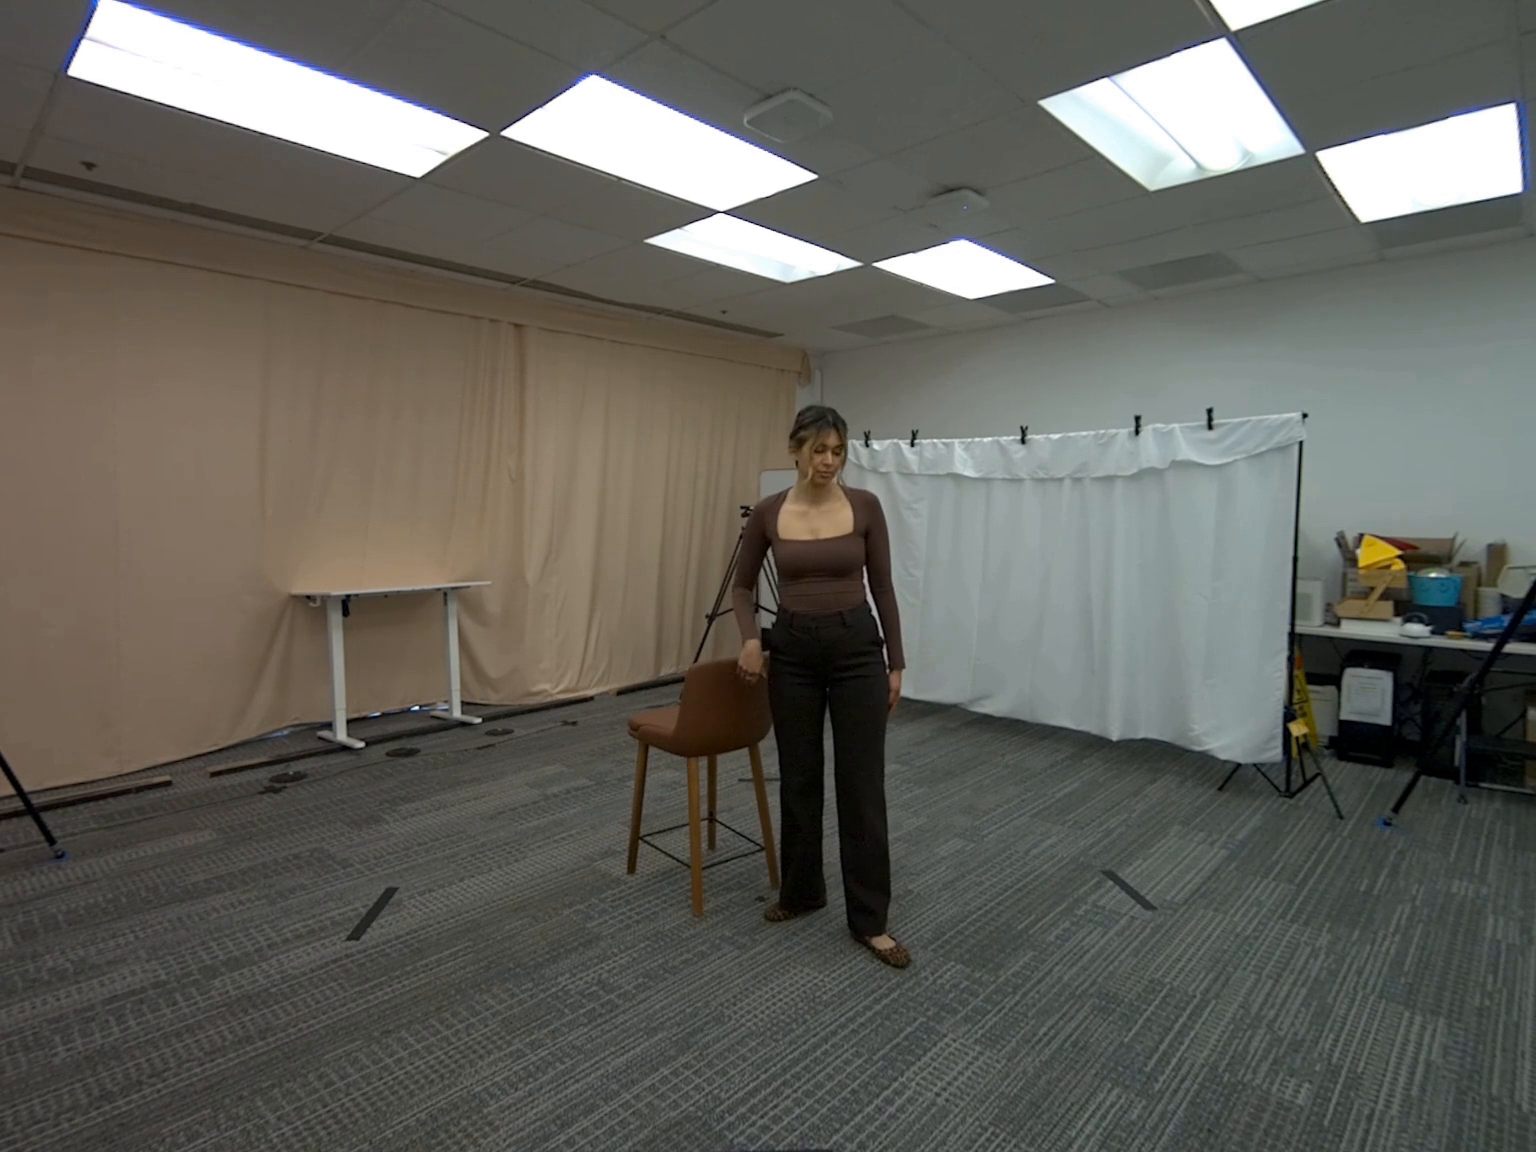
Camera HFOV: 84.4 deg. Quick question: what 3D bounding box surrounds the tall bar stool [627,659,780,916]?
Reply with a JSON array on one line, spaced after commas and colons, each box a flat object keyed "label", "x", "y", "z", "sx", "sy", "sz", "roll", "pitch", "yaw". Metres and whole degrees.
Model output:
[{"label": "tall bar stool", "x": -0.237, "y": 0.698, "z": 3.114, "sx": 0.443, "sy": 0.887, "sz": 0.483, "roll": -3, "pitch": 6, "yaw": -38}]
